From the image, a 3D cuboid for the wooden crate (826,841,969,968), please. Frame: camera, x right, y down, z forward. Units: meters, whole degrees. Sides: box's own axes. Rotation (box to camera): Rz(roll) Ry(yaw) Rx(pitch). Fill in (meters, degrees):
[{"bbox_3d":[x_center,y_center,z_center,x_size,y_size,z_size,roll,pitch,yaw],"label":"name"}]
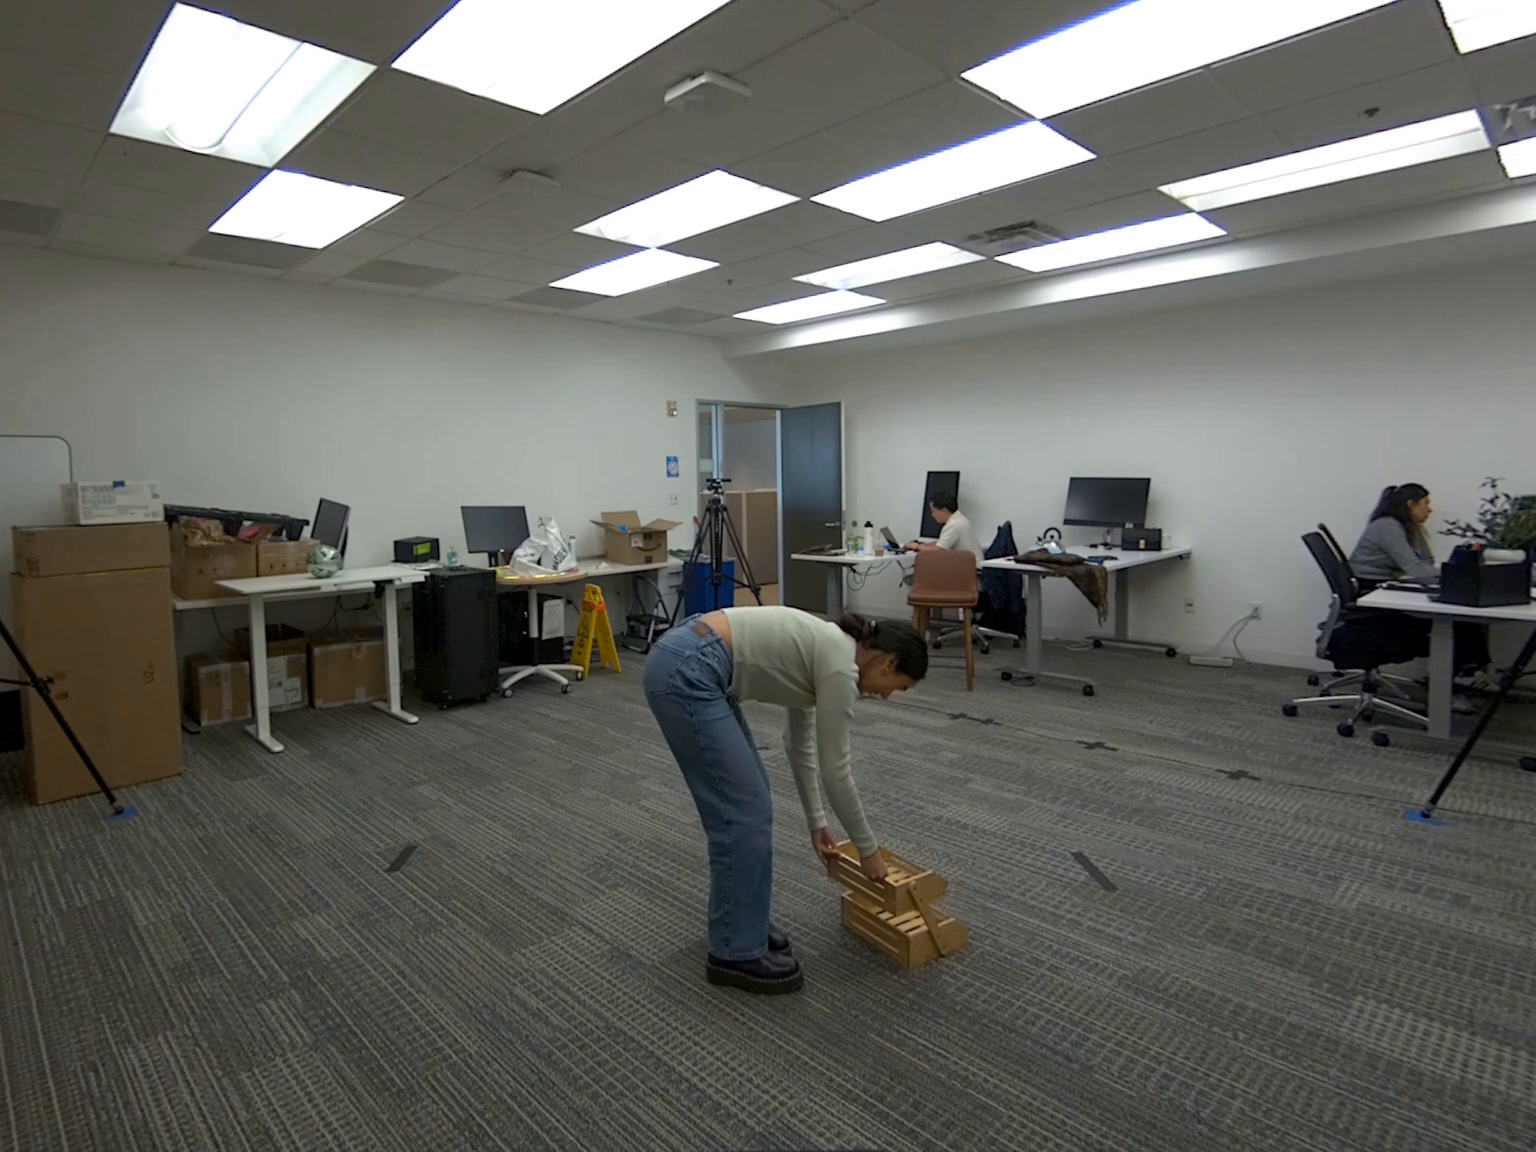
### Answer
[{"bbox_3d":[0.401,0.961,2.593,0.295,0.272,0.334,-5,7,-34],"label":"wooden crate"}]
